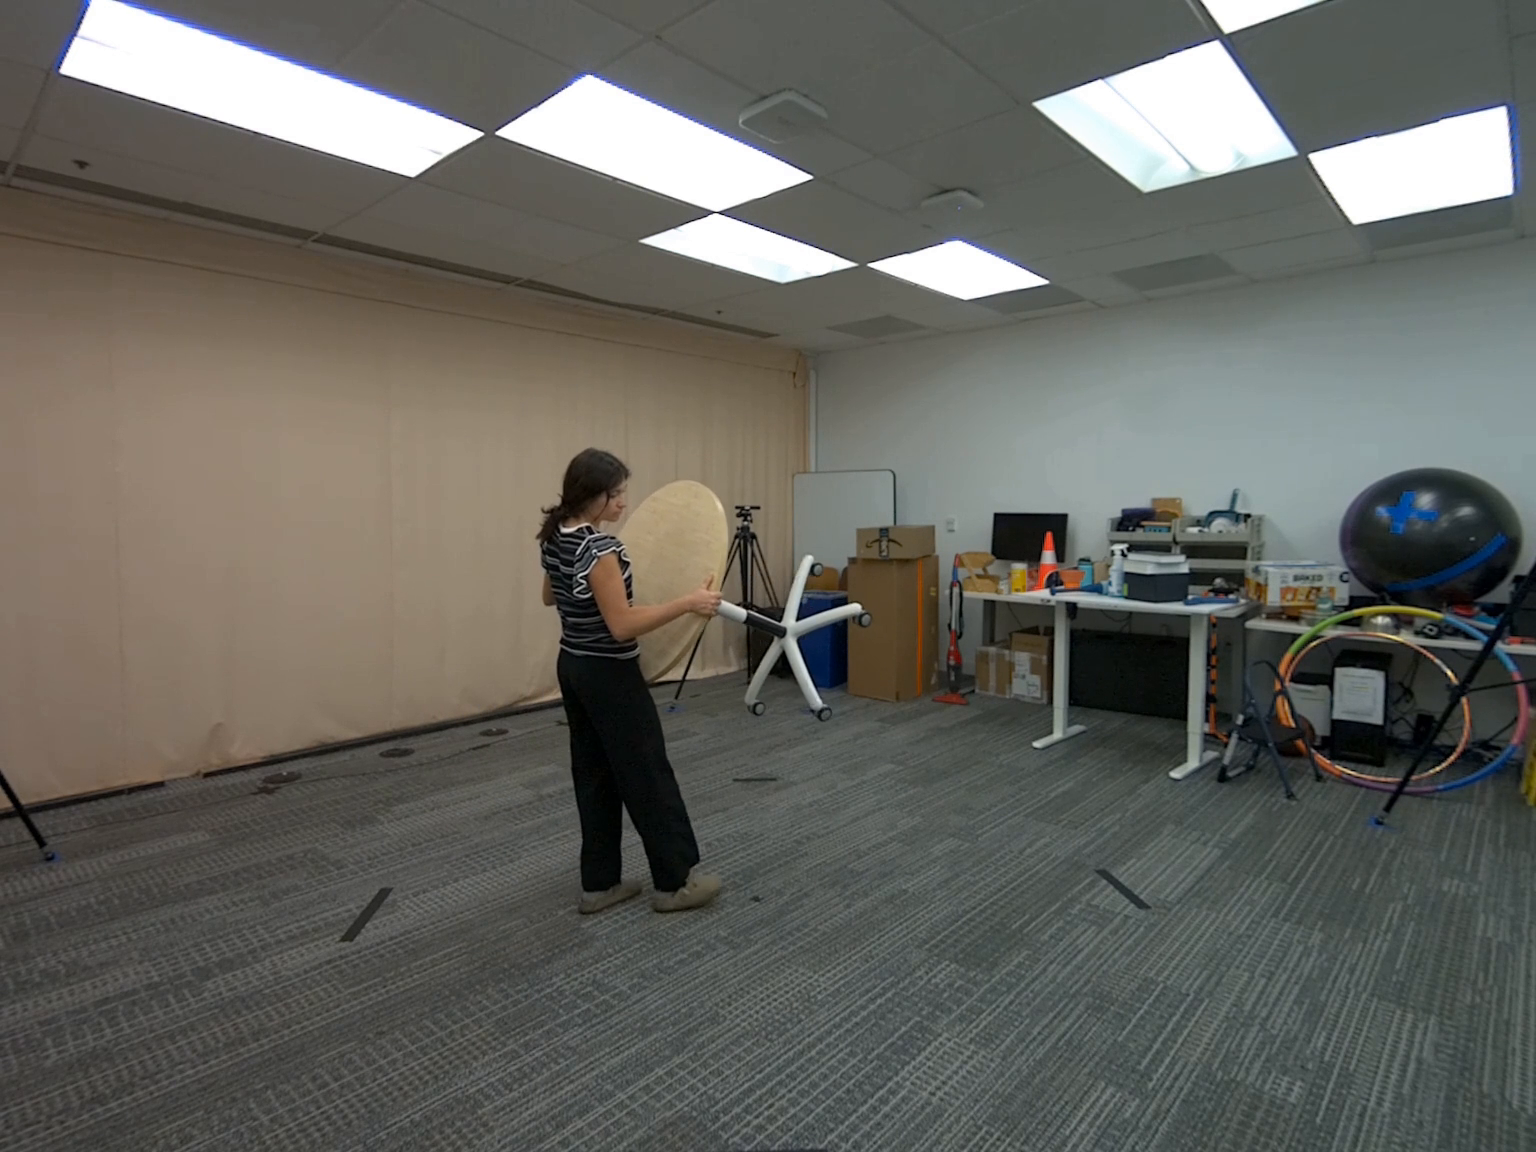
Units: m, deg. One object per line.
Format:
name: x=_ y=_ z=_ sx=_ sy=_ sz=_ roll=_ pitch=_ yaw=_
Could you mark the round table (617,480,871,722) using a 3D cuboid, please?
round table: x=-0.122 y=0.154 z=3.221 sx=0.766 sy=0.766 sz=0.789 roll=26 pitch=-13 yaw=-36
